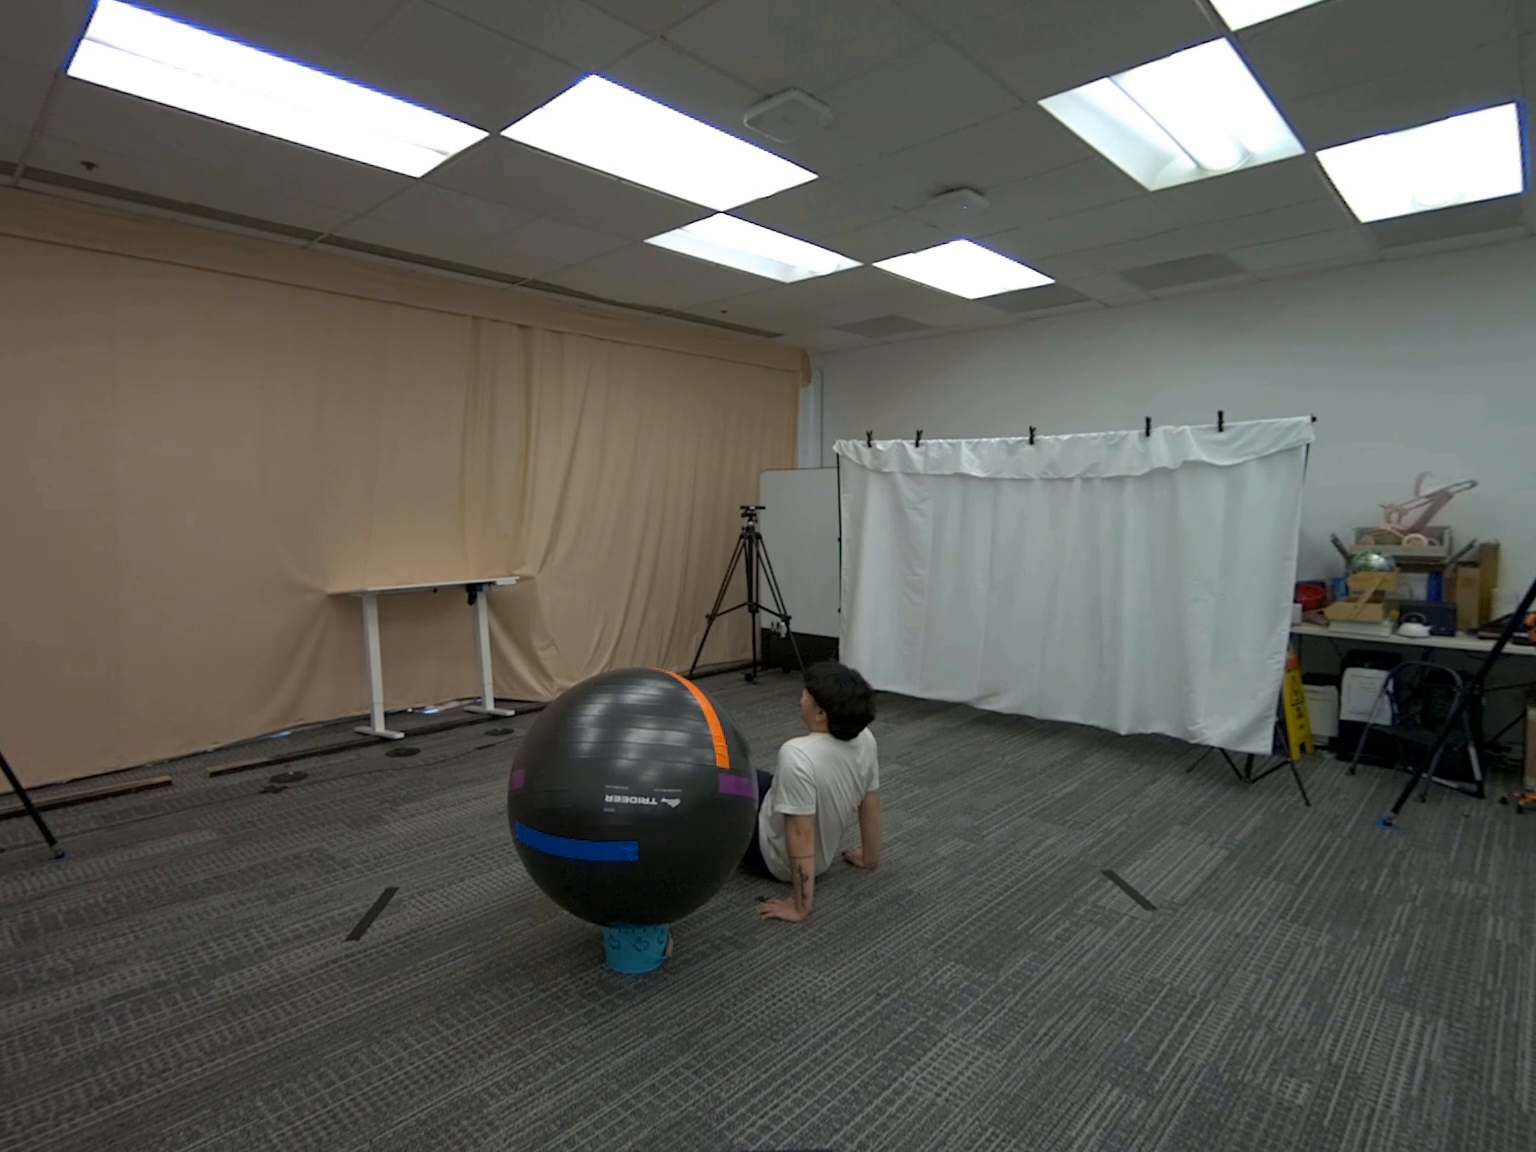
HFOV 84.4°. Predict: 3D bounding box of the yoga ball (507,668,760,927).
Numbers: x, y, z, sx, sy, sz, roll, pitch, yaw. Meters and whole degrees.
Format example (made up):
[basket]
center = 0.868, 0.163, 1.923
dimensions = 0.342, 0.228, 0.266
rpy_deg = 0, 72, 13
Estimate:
[yoga ball]
center = -0.416, 0.667, 2.579
dimensions = 0.757, 0.756, 0.761
rpy_deg = 0, 4, -2
